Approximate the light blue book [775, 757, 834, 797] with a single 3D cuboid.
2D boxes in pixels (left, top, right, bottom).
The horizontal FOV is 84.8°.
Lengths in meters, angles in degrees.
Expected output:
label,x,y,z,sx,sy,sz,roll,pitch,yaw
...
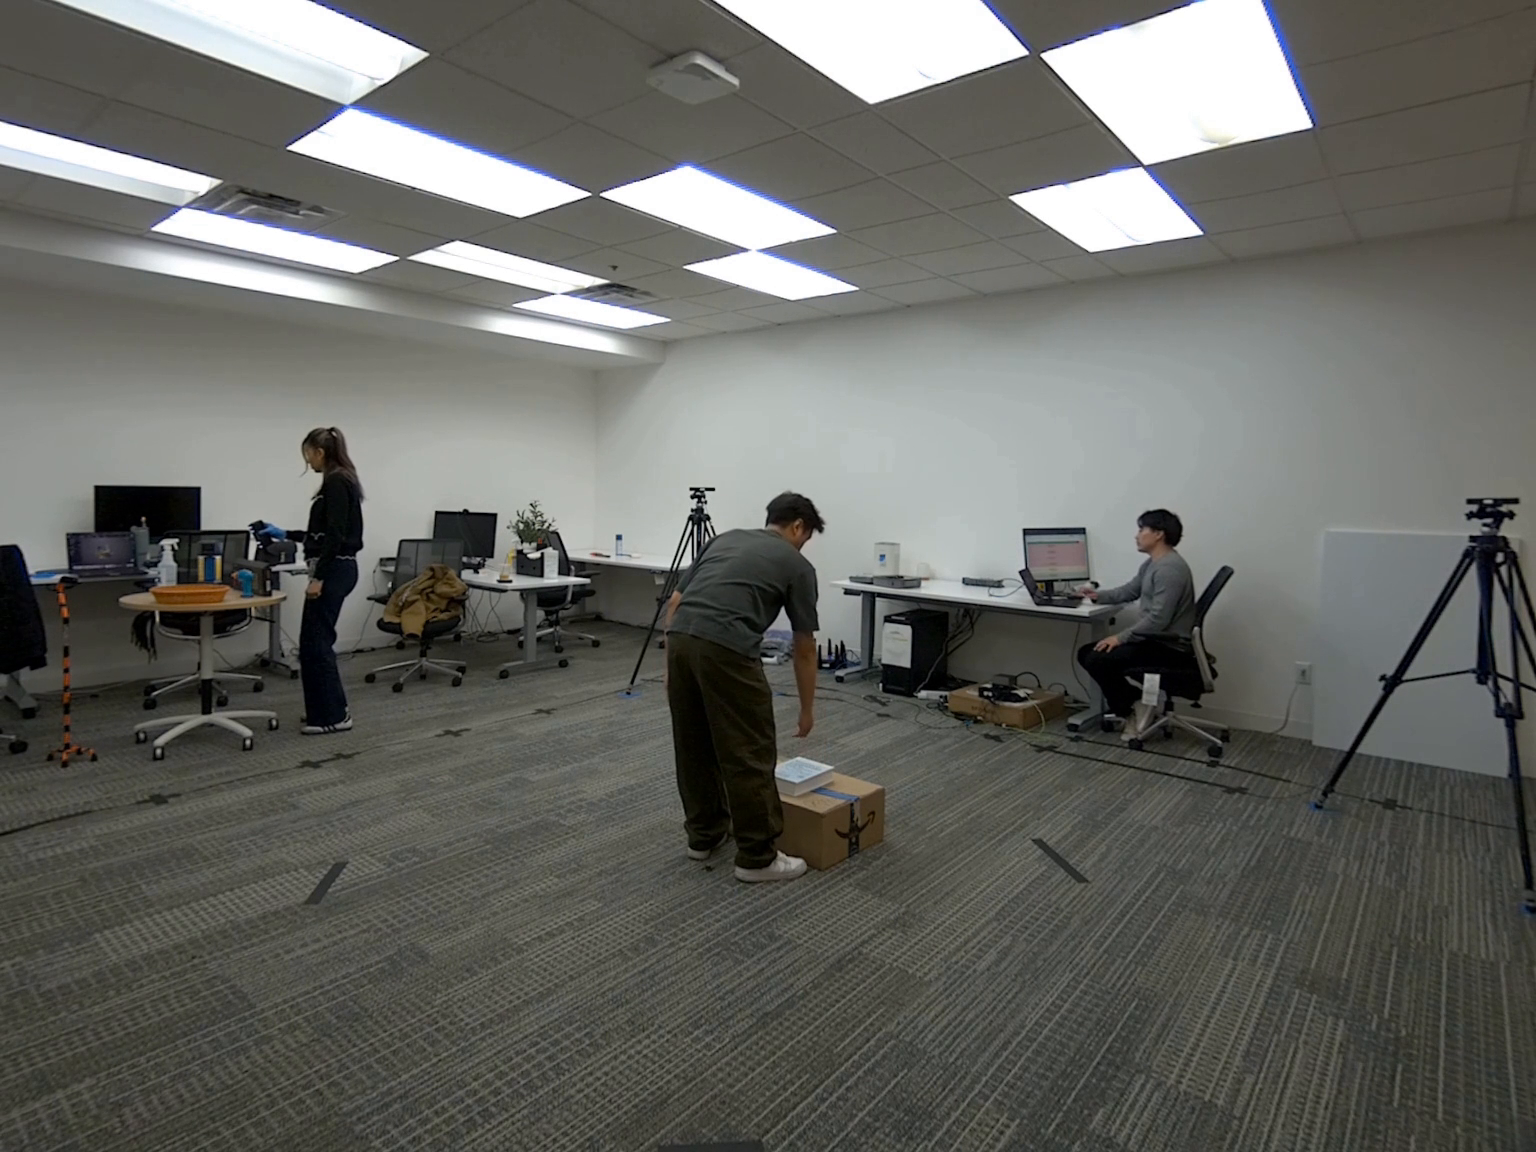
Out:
label,x,y,z,sx,sy,sz,roll,pitch,yaw
light blue book,0.110,0.801,3.434,0.198,0.059,0.253,7,8,40
